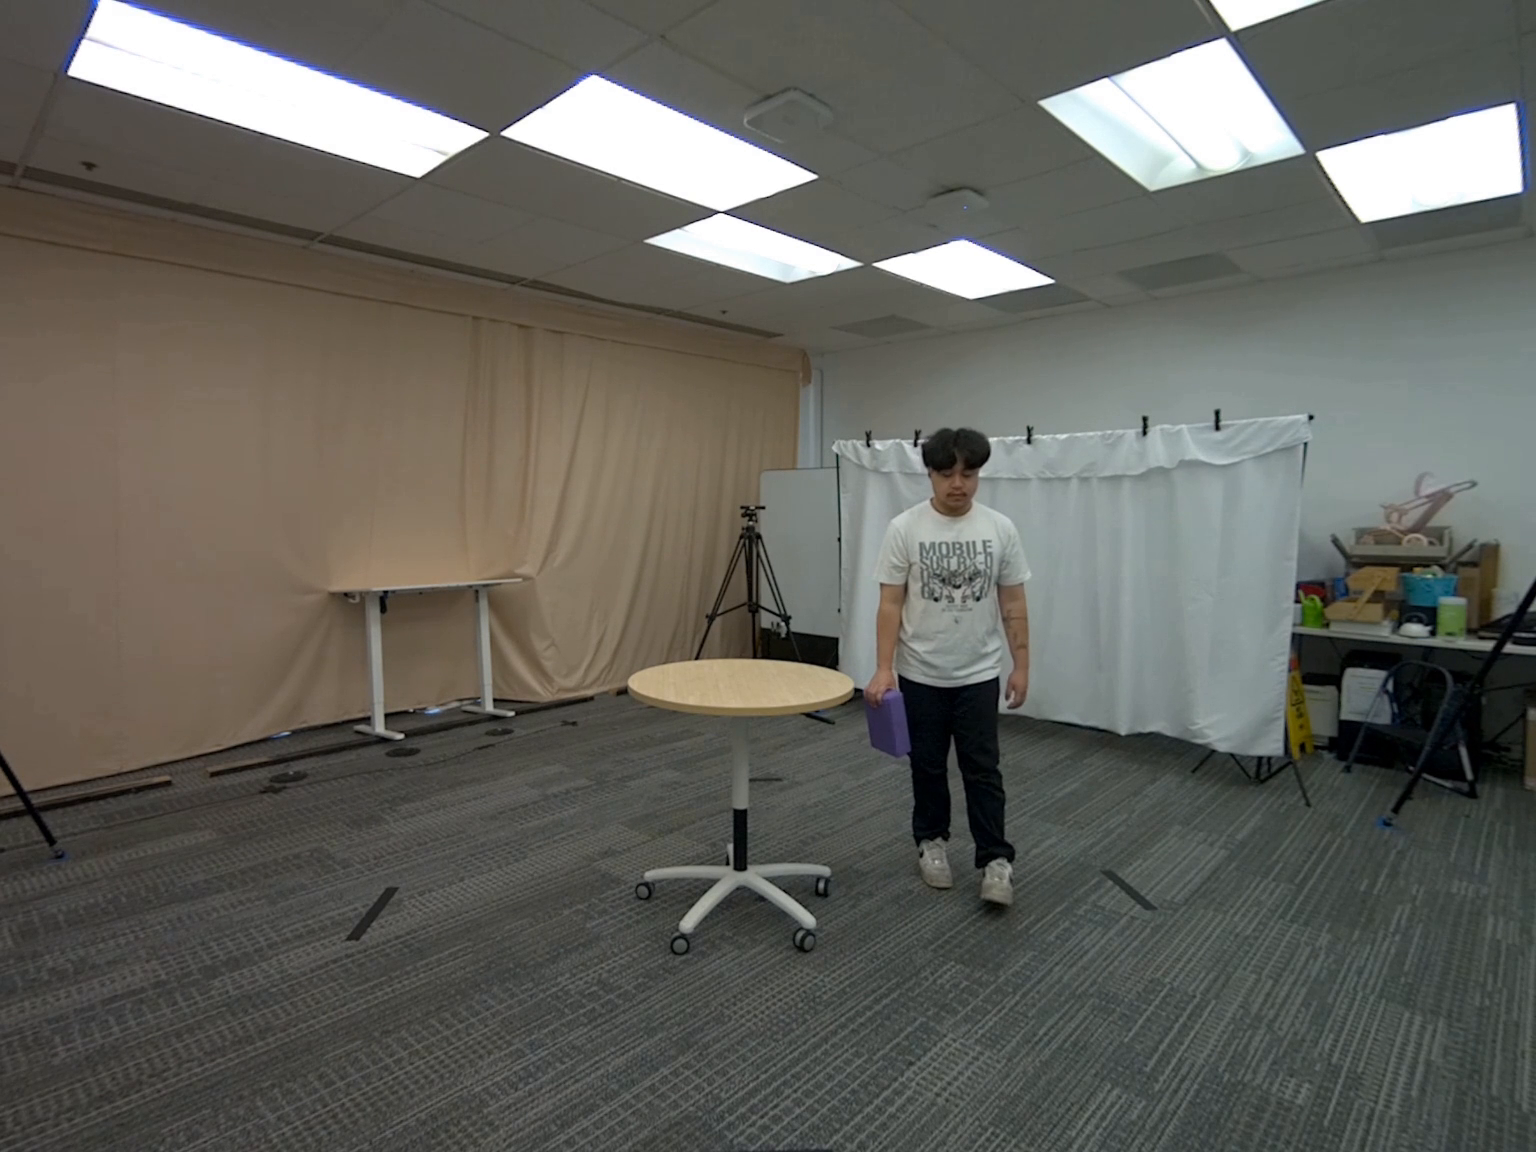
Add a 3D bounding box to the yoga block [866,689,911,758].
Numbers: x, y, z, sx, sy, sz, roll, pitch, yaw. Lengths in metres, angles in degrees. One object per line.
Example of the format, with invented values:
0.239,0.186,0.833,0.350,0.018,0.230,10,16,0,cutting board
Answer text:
0.439,0.524,3.032,0.075,0.227,0.153,-15,11,-29,yoga block
